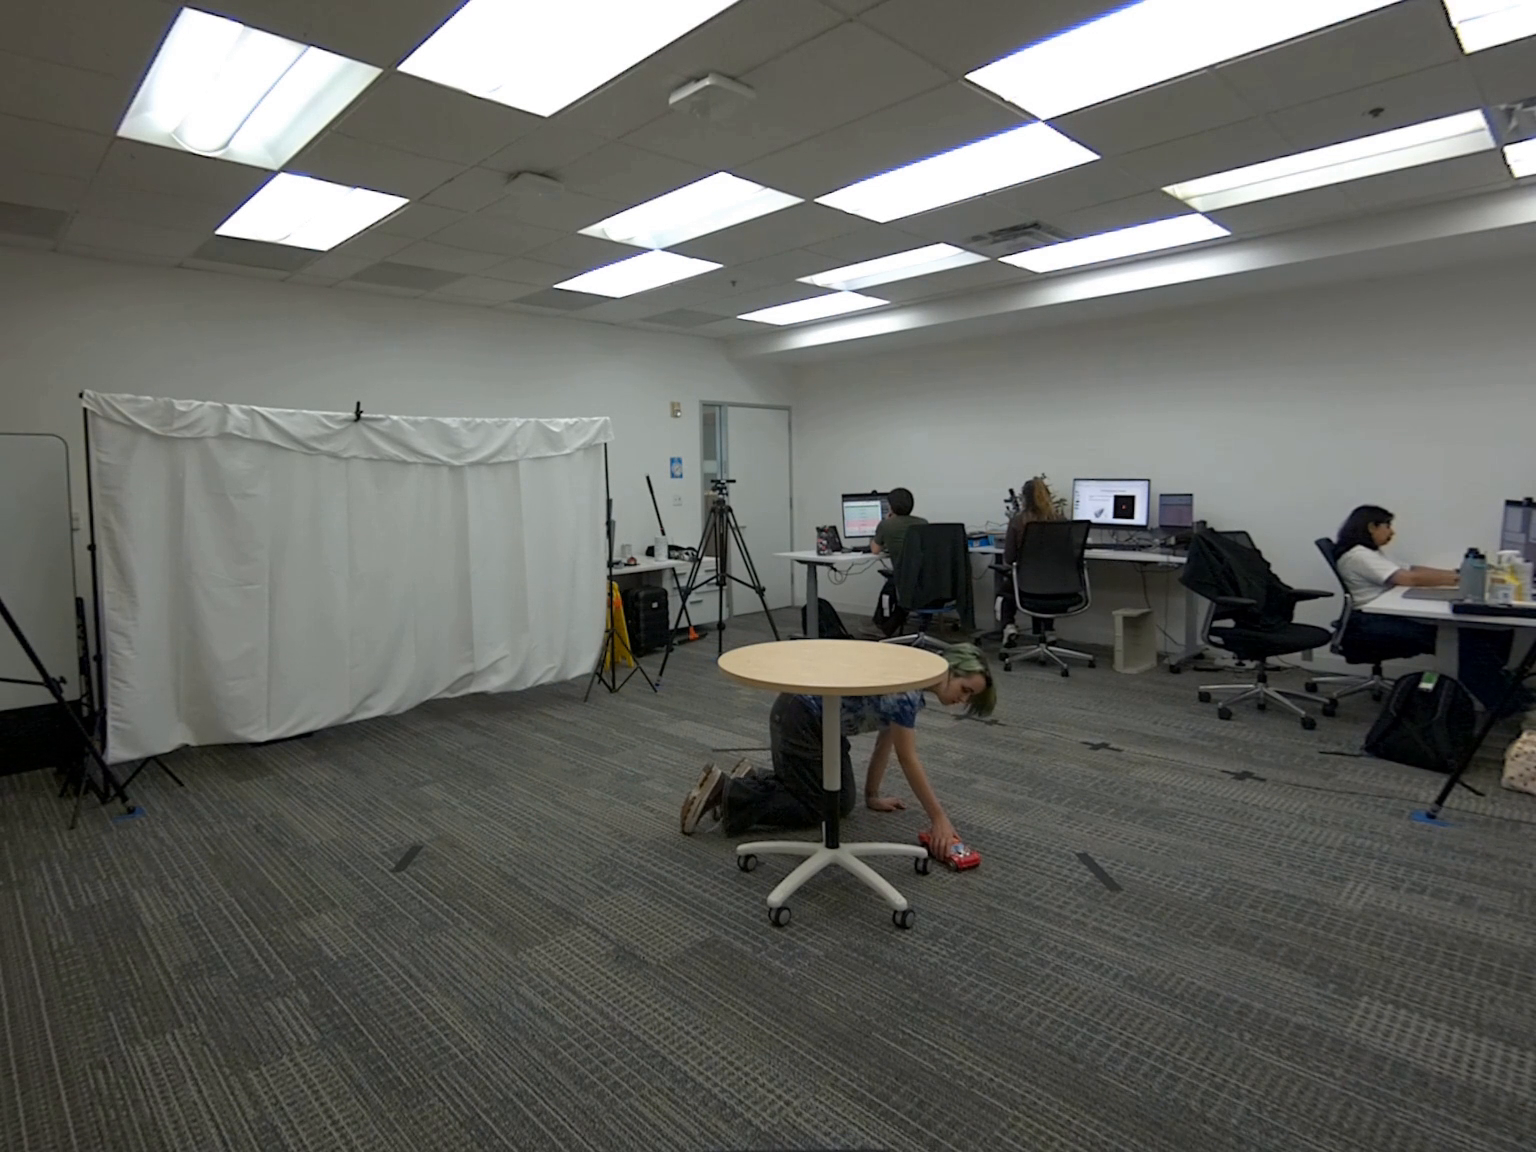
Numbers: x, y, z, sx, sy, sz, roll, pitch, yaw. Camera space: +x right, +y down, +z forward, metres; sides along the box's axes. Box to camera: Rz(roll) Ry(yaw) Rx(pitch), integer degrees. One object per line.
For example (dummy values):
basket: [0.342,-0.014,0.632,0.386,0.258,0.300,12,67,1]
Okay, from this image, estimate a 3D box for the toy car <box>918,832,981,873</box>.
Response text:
toy car: [0.664,1.006,3.140,0.127,0.082,0.263,-5,18,-27]
